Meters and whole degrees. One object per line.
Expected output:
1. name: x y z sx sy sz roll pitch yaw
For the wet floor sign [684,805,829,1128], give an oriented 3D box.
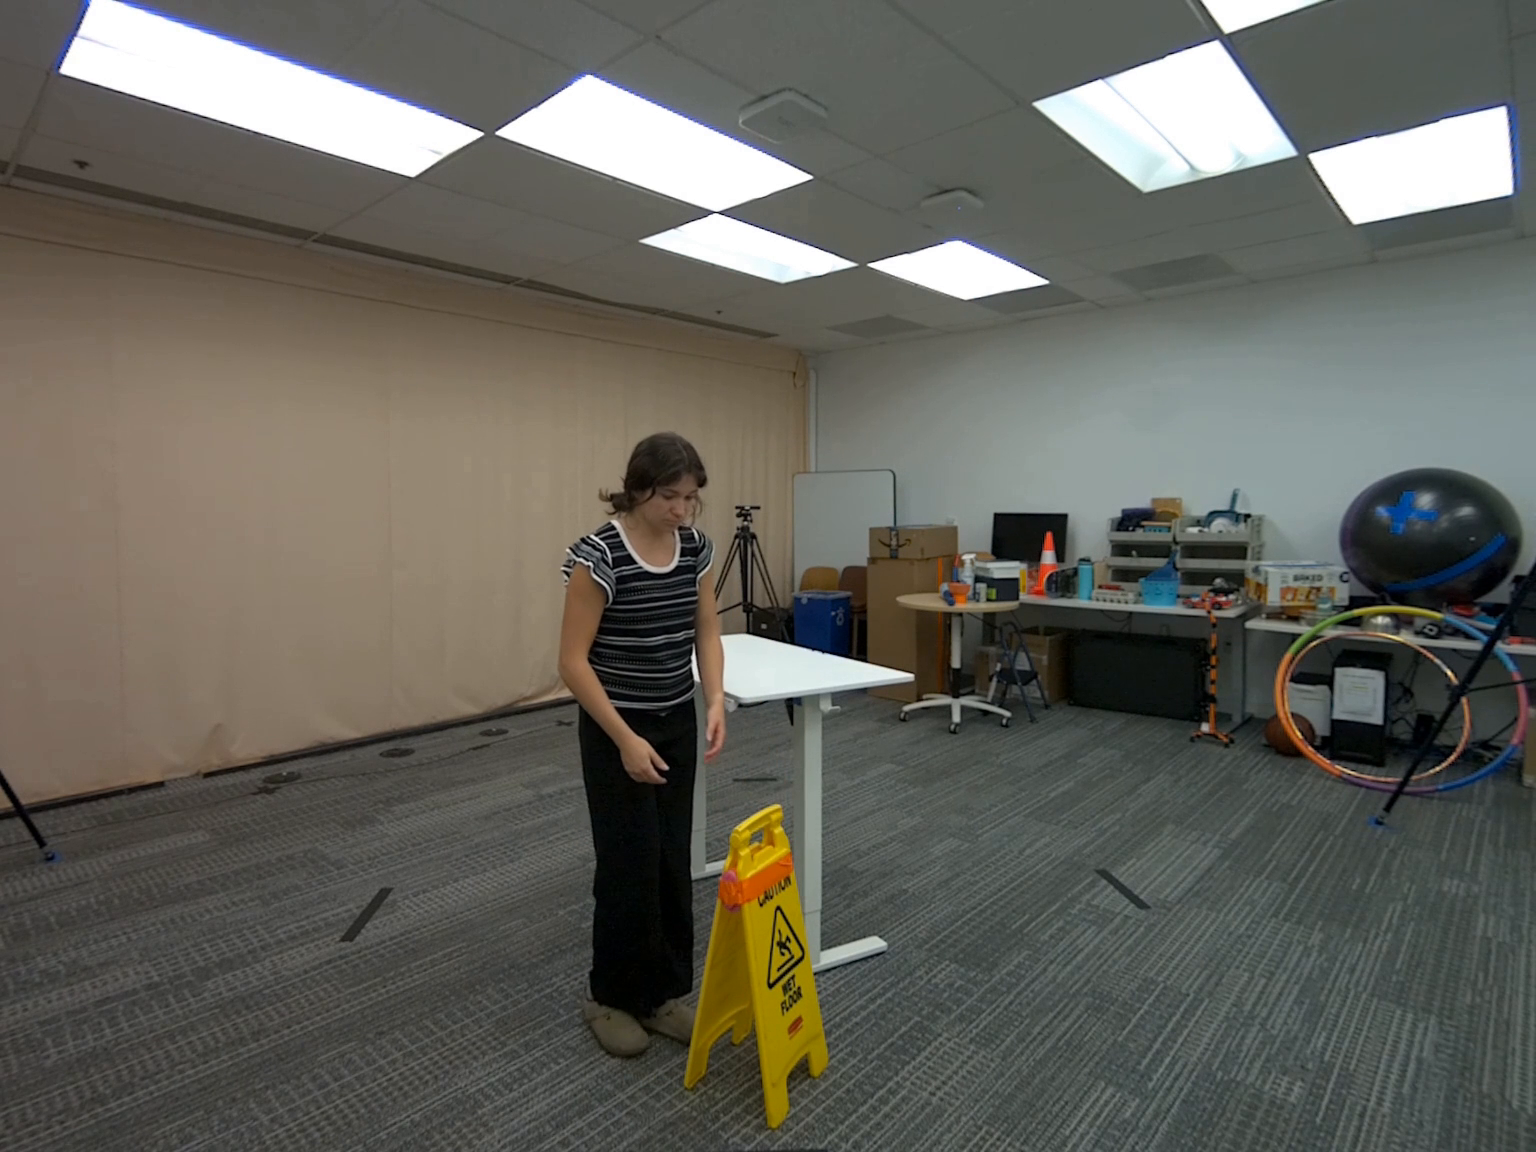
1. wet floor sign: -0.024 0.903 2.033 0.298 0.645 0.274 2 4 32
